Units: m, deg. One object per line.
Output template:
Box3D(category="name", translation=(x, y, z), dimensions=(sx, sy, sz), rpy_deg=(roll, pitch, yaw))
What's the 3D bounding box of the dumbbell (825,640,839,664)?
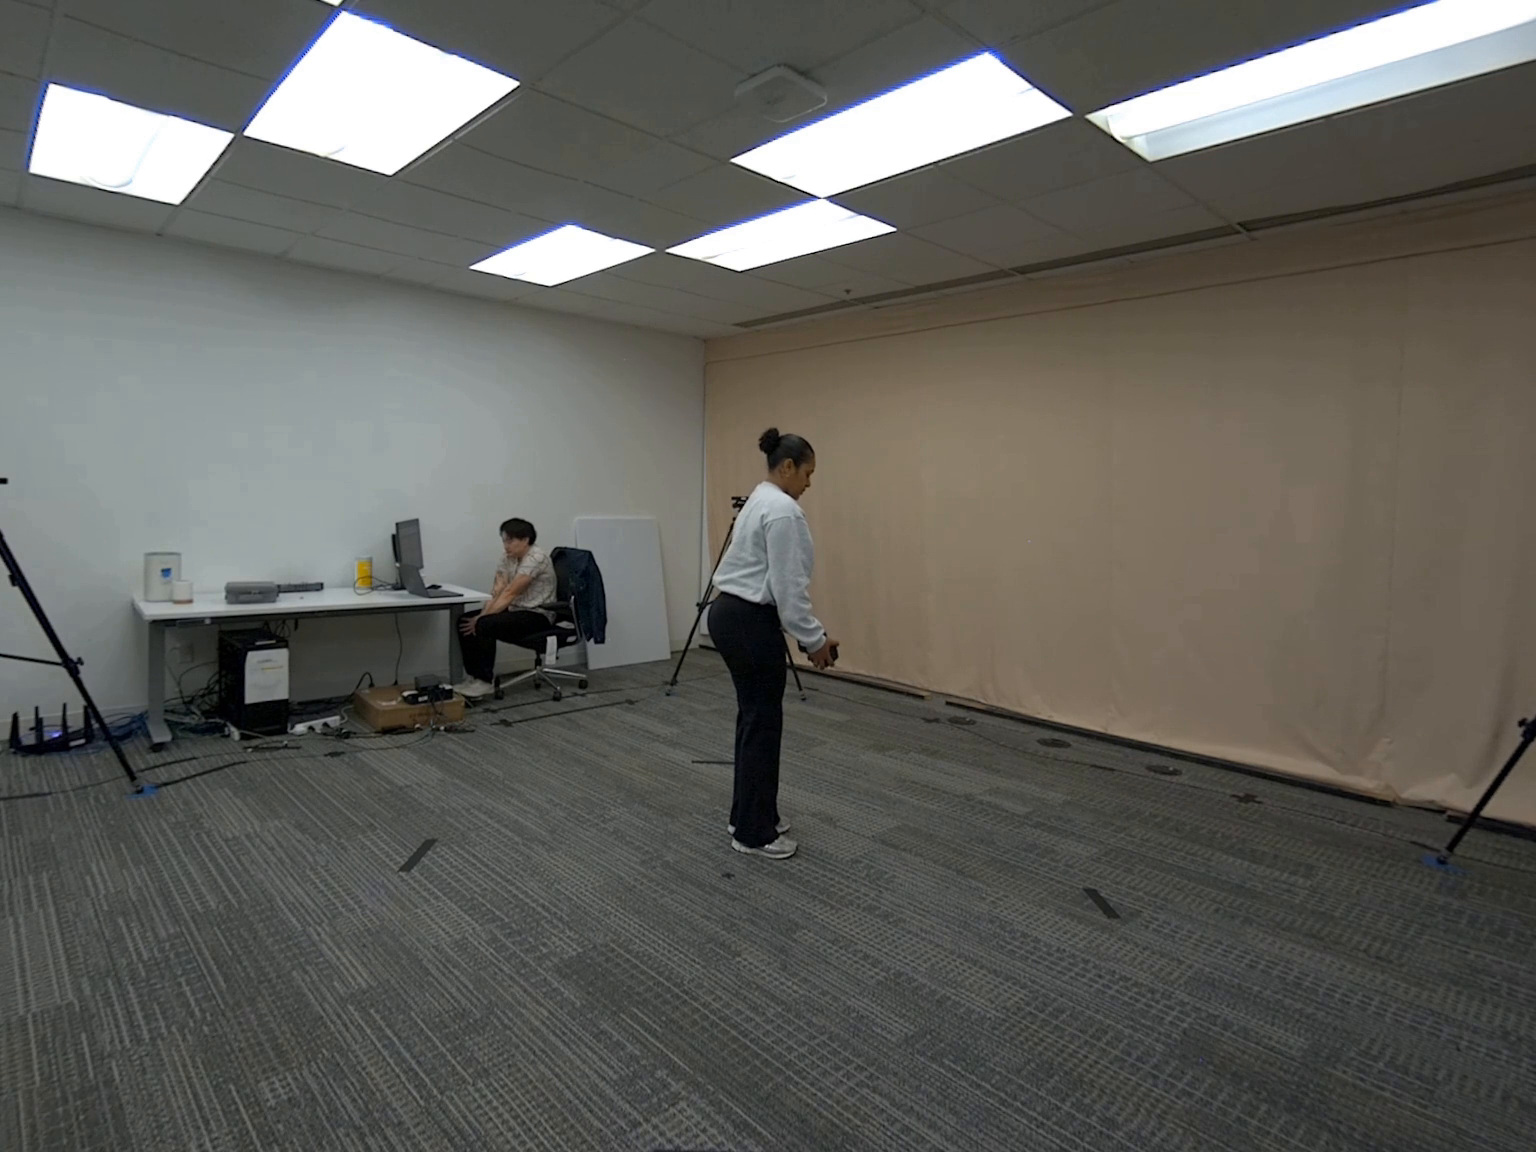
Box3D(category="dumbbell", translation=(0.187, 0.286, 3.411), dimensions=(0.108, 0.122, 0.295), rpy_deg=(-8, 4, -2))
